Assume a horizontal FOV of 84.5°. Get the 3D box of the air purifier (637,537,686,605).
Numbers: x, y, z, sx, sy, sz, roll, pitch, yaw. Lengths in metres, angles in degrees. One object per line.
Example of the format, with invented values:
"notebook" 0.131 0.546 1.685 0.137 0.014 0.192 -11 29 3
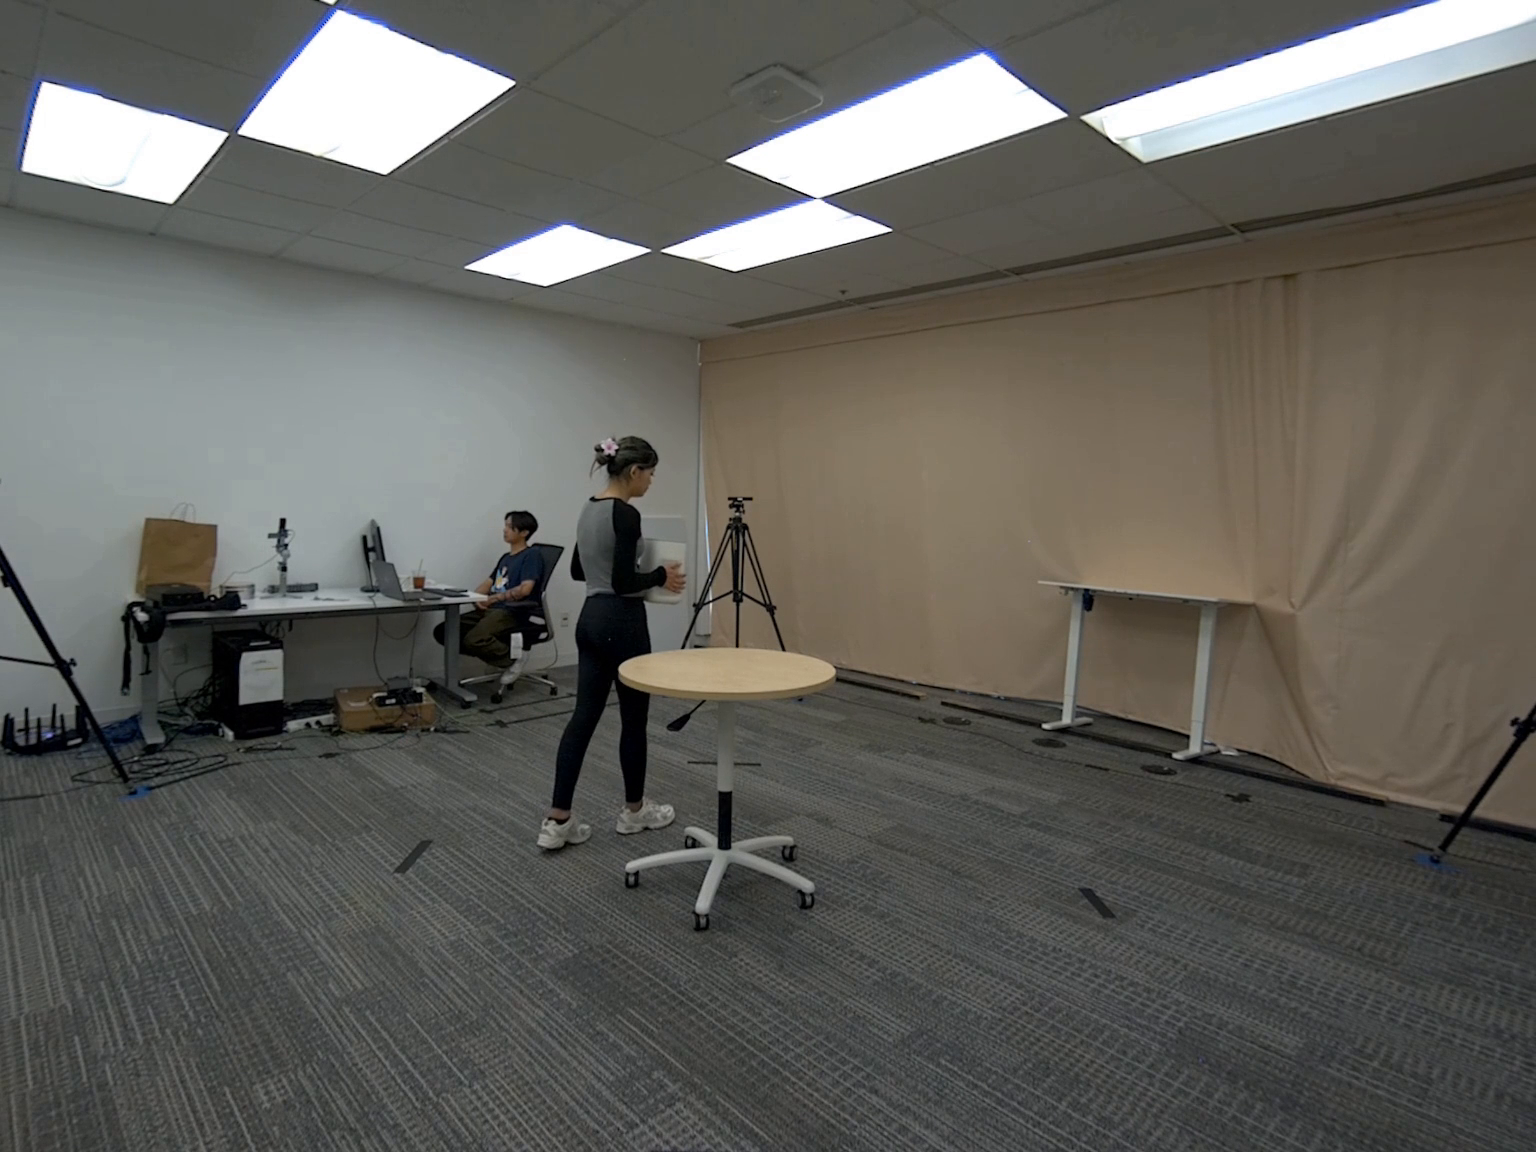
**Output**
"air purifier" -0.454 -0.023 3.535 0.167 0.265 0.175 5 0 -35
